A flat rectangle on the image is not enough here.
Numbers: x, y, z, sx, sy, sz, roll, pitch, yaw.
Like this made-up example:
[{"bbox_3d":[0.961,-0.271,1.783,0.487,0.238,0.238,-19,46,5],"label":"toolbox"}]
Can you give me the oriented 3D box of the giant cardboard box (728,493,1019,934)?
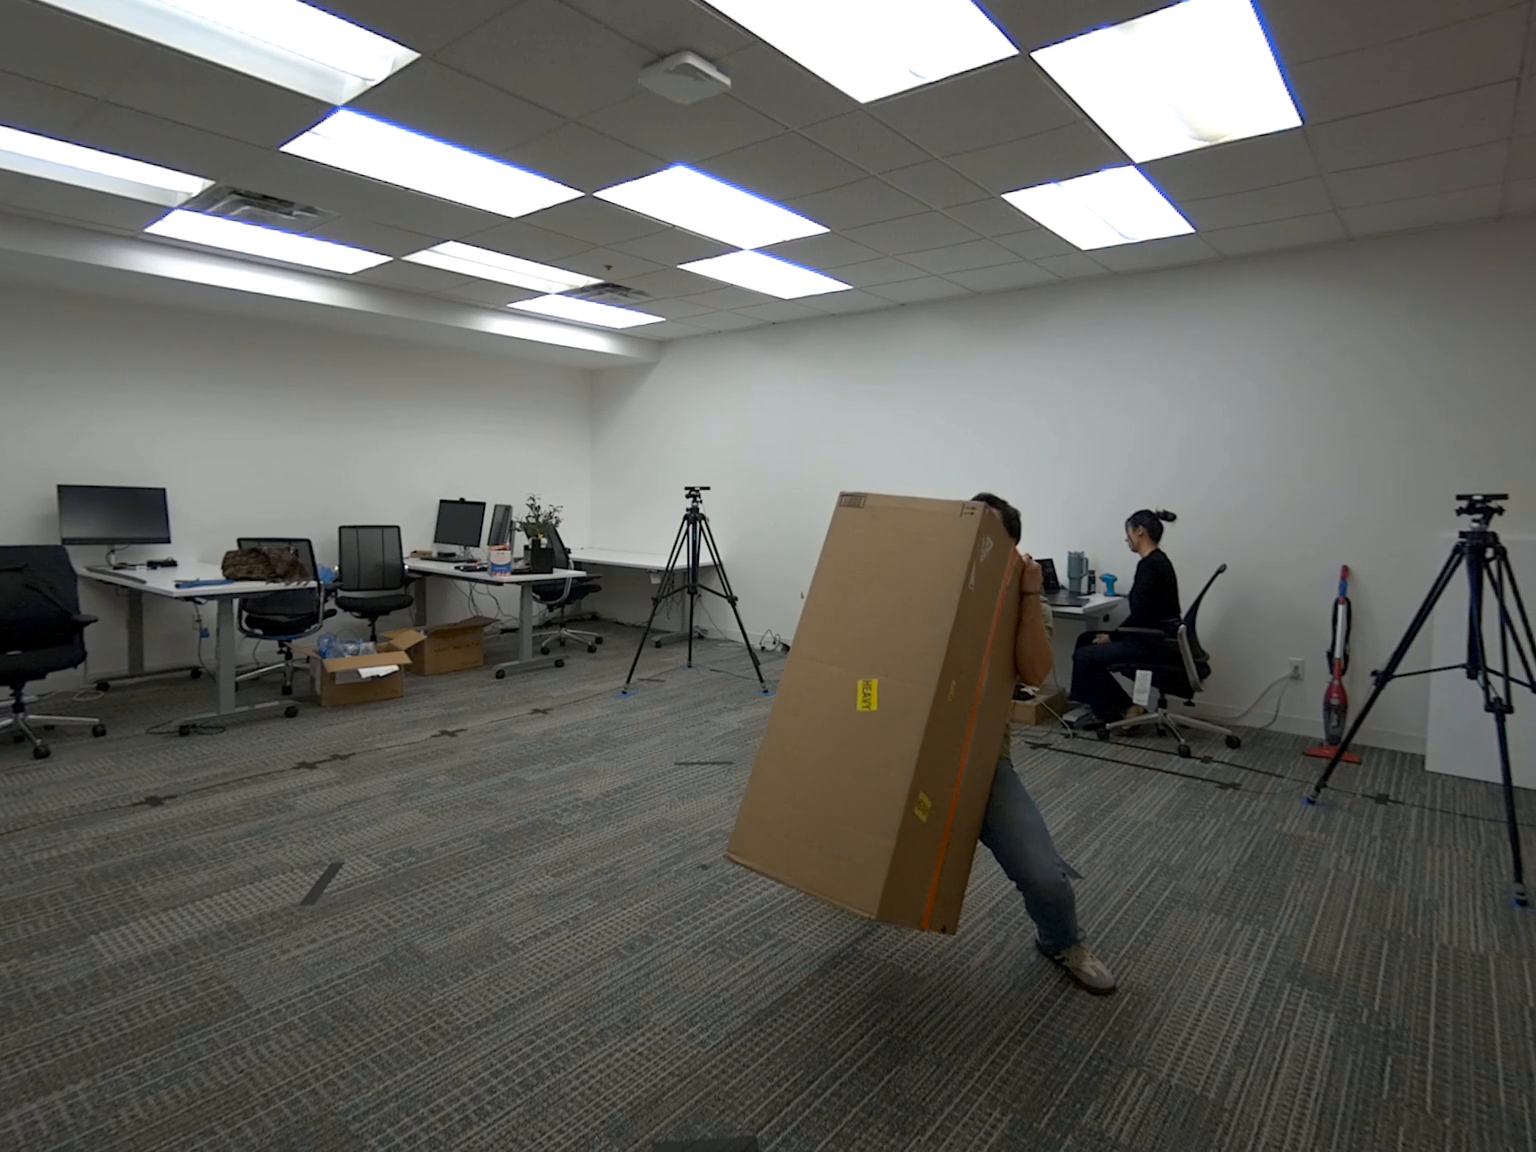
[{"bbox_3d":[0.342,0.364,2.326,0.441,1.034,0.553,7,-18,36],"label":"giant cardboard box"}]
